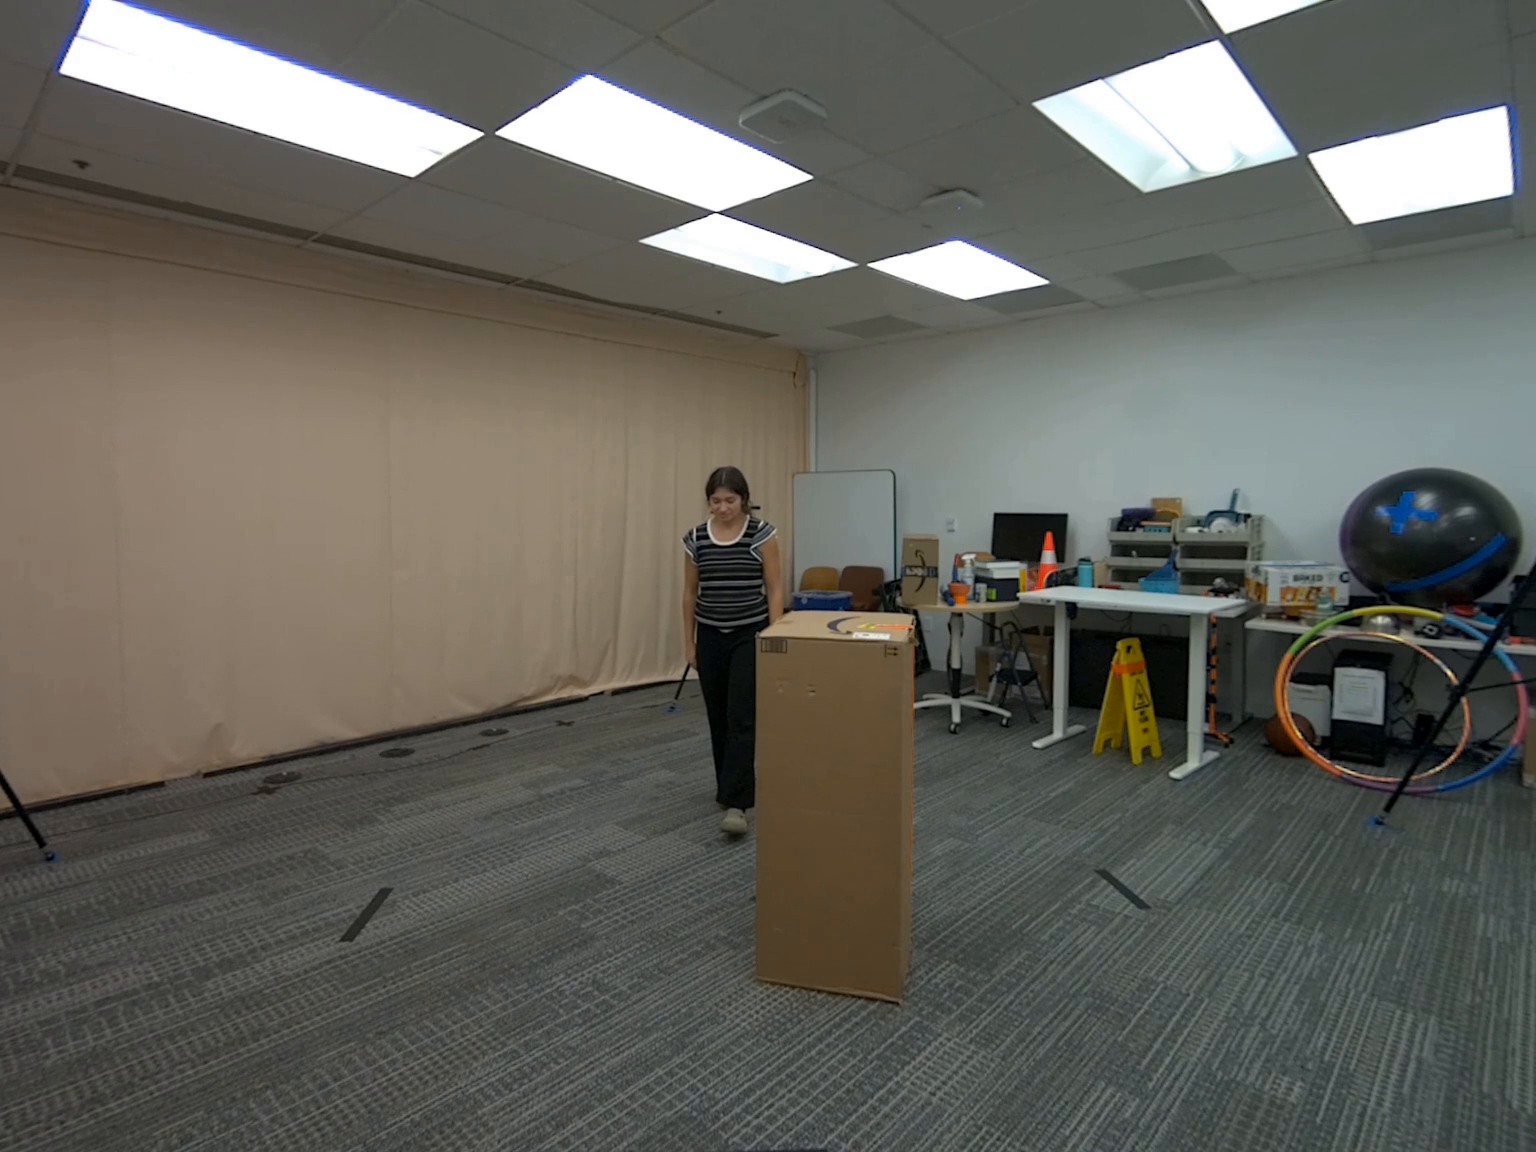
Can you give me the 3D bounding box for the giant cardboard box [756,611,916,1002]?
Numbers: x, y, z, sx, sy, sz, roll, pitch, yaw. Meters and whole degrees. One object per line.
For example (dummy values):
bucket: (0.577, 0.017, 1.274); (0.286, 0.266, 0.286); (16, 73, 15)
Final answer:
giant cardboard box: (0.235, 0.662, 2.657); (0.433, 1.024, 0.569); (1, 3, 14)
